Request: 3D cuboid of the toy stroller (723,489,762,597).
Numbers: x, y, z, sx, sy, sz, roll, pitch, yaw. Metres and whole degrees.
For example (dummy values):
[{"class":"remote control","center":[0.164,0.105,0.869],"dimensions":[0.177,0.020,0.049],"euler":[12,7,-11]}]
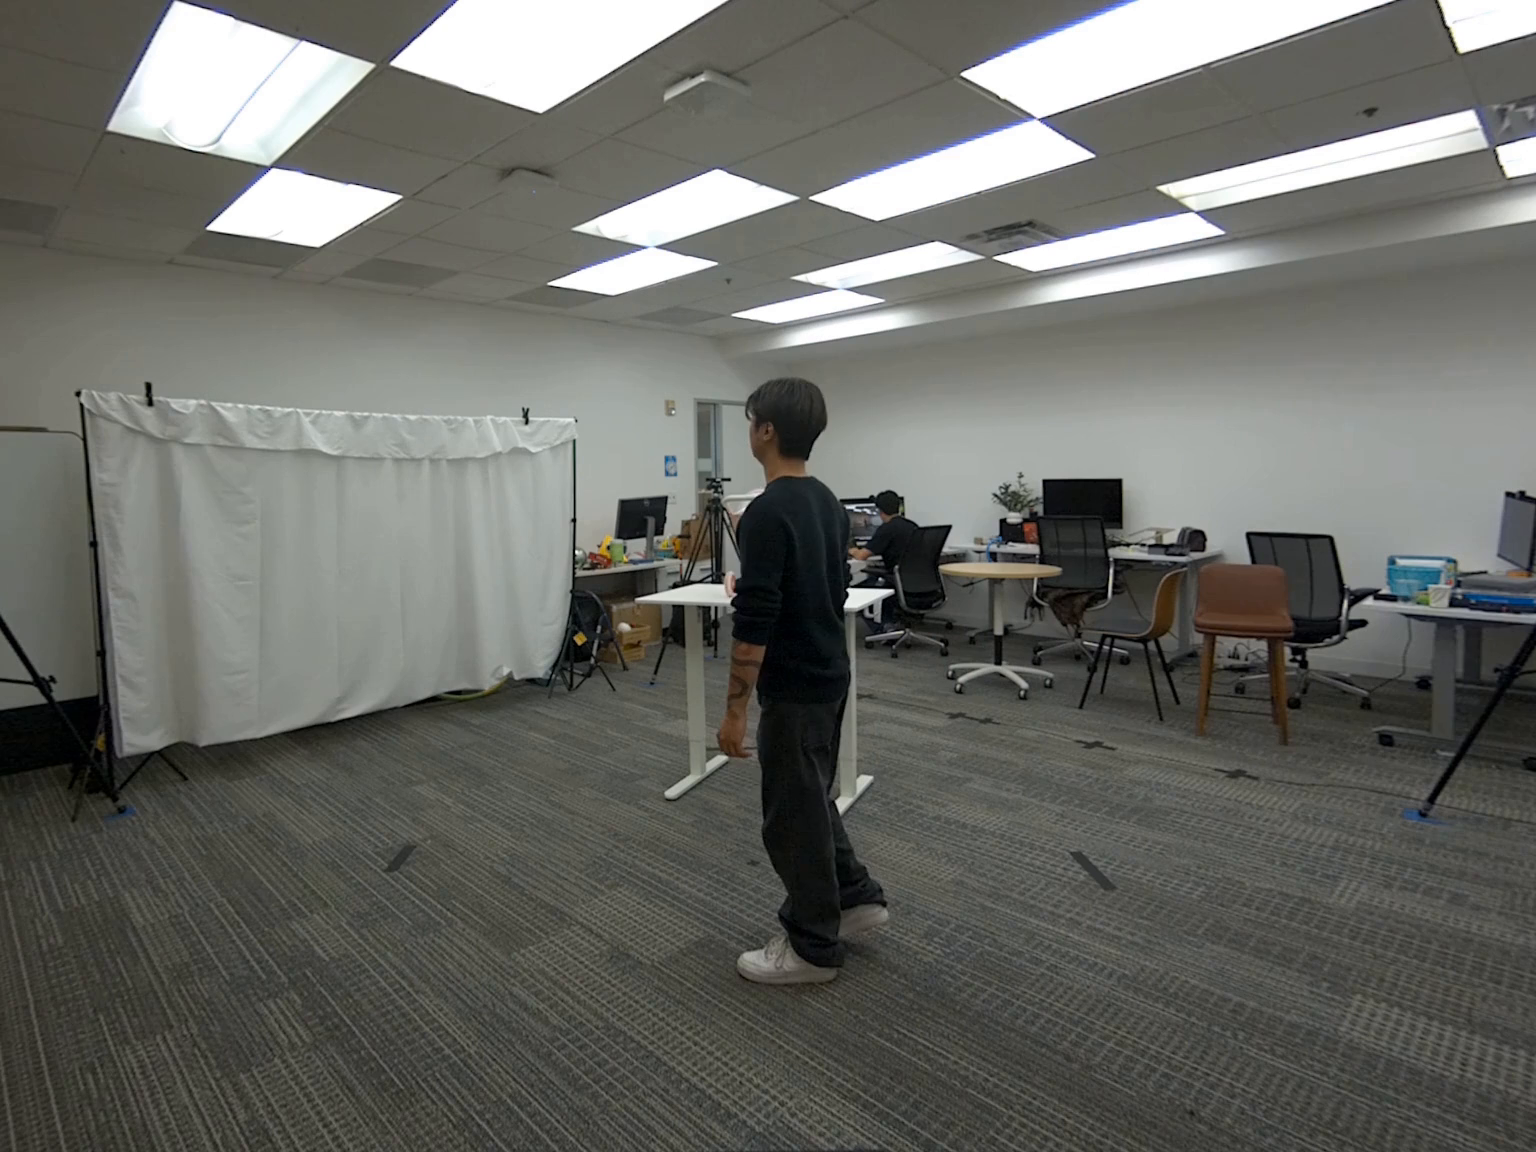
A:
[{"class":"toy stroller","center":[-0.022,-0.139,3.748],"dimensions":[0.288,0.526,0.339],"euler":[1,18,26]}]
